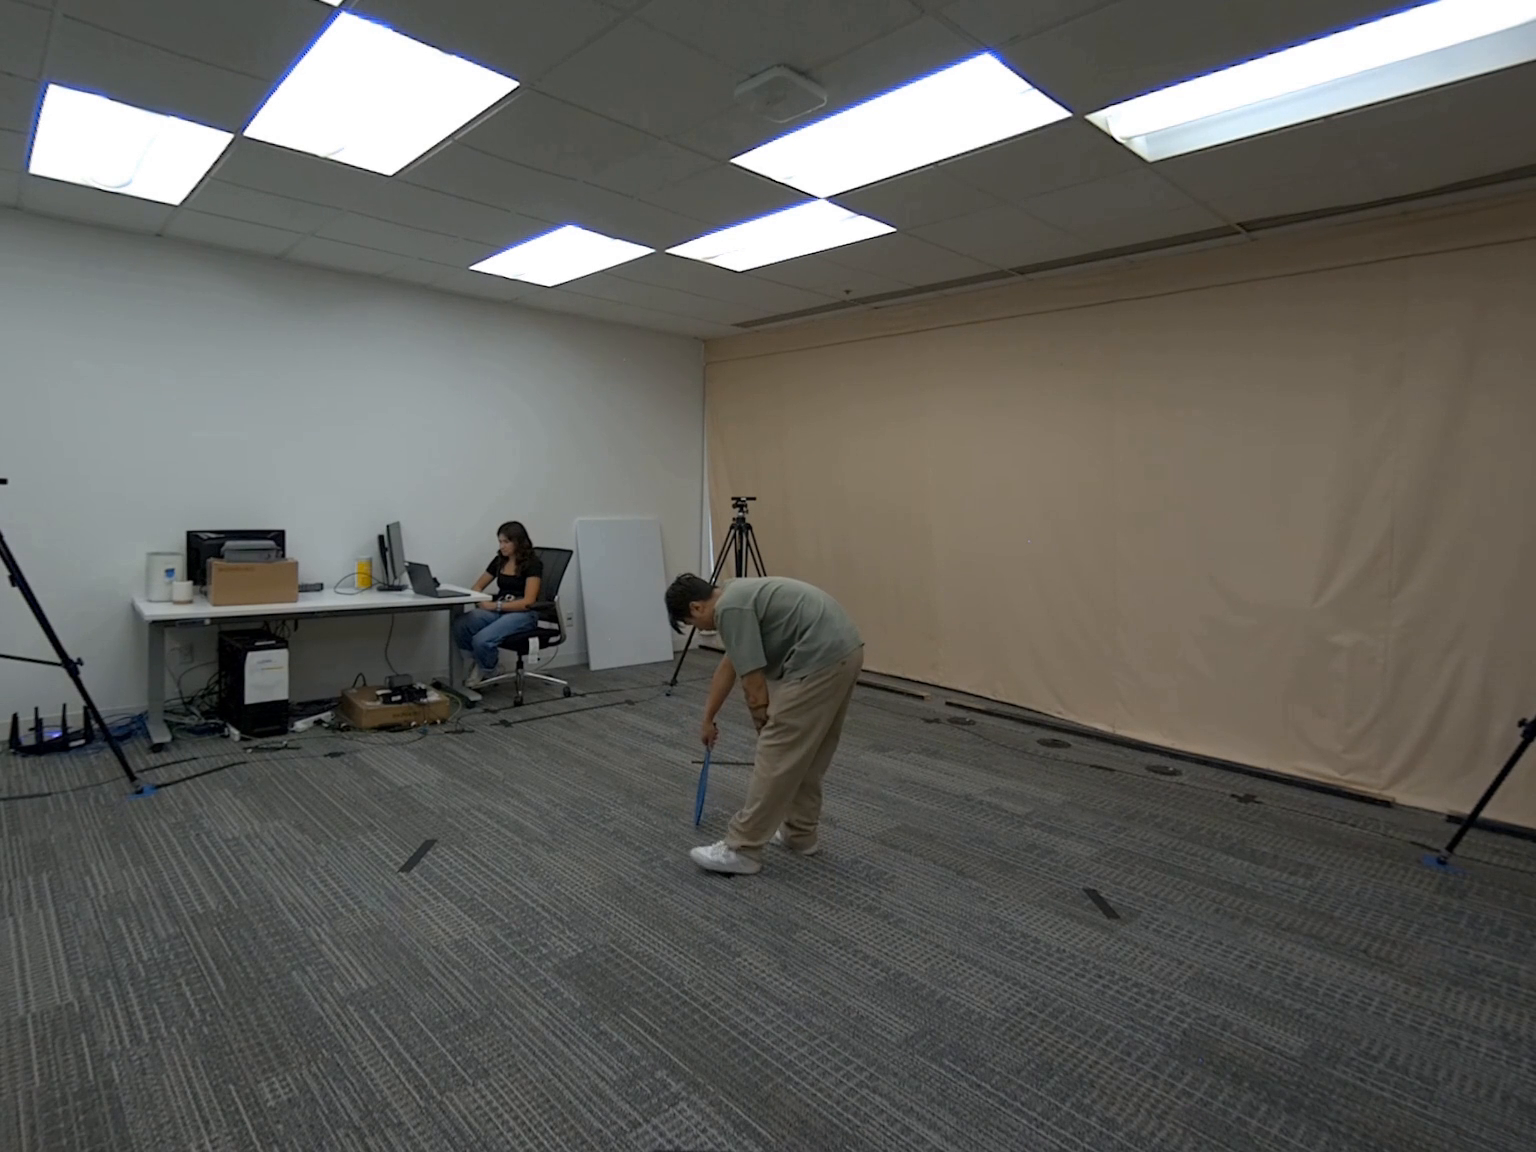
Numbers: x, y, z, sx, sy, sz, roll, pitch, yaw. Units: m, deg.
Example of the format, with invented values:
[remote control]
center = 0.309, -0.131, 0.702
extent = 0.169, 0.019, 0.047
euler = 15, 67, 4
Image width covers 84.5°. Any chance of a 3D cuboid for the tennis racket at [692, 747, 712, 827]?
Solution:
[tennis racket]
center = -0.279, 0.842, 3.581
extent = 0.031, 0.434, 0.214
euler = 10, -5, -8
